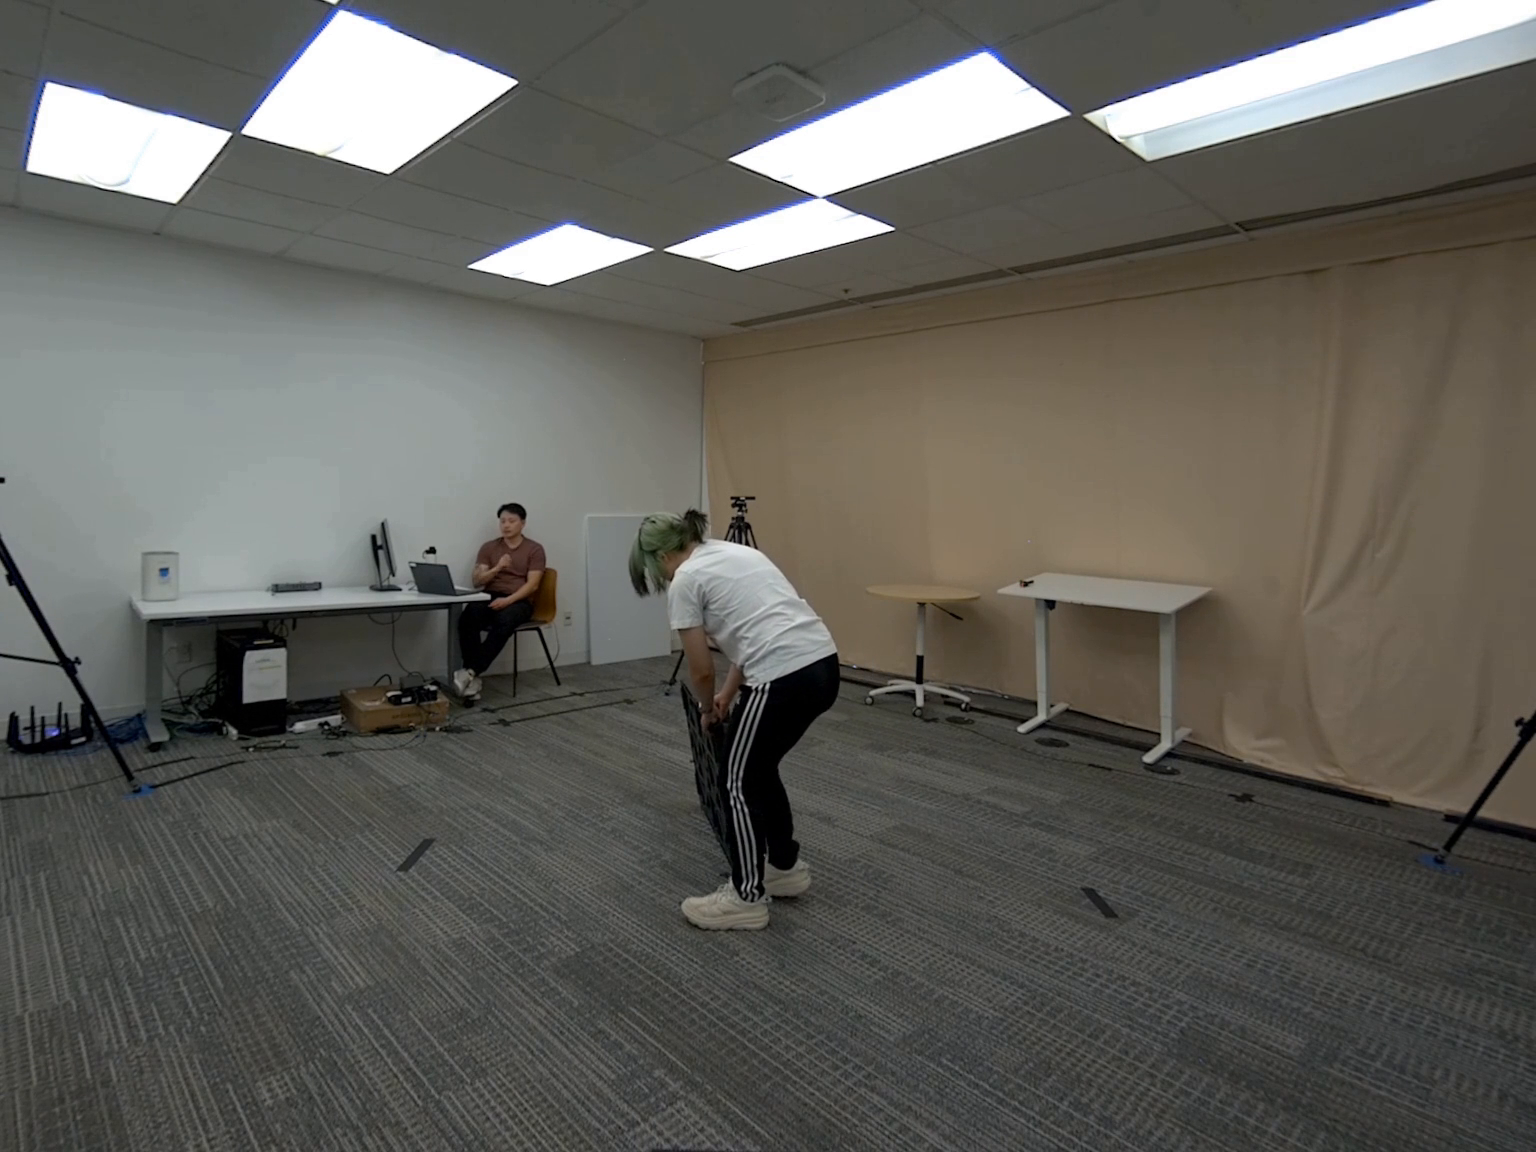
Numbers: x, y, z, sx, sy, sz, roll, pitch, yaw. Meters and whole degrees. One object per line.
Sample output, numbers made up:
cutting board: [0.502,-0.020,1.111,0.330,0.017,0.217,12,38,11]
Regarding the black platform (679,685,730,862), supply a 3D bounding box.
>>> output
black platform: [-0.211,0.763,3.434,0.142,0.602,0.817,-10,8,-13]
